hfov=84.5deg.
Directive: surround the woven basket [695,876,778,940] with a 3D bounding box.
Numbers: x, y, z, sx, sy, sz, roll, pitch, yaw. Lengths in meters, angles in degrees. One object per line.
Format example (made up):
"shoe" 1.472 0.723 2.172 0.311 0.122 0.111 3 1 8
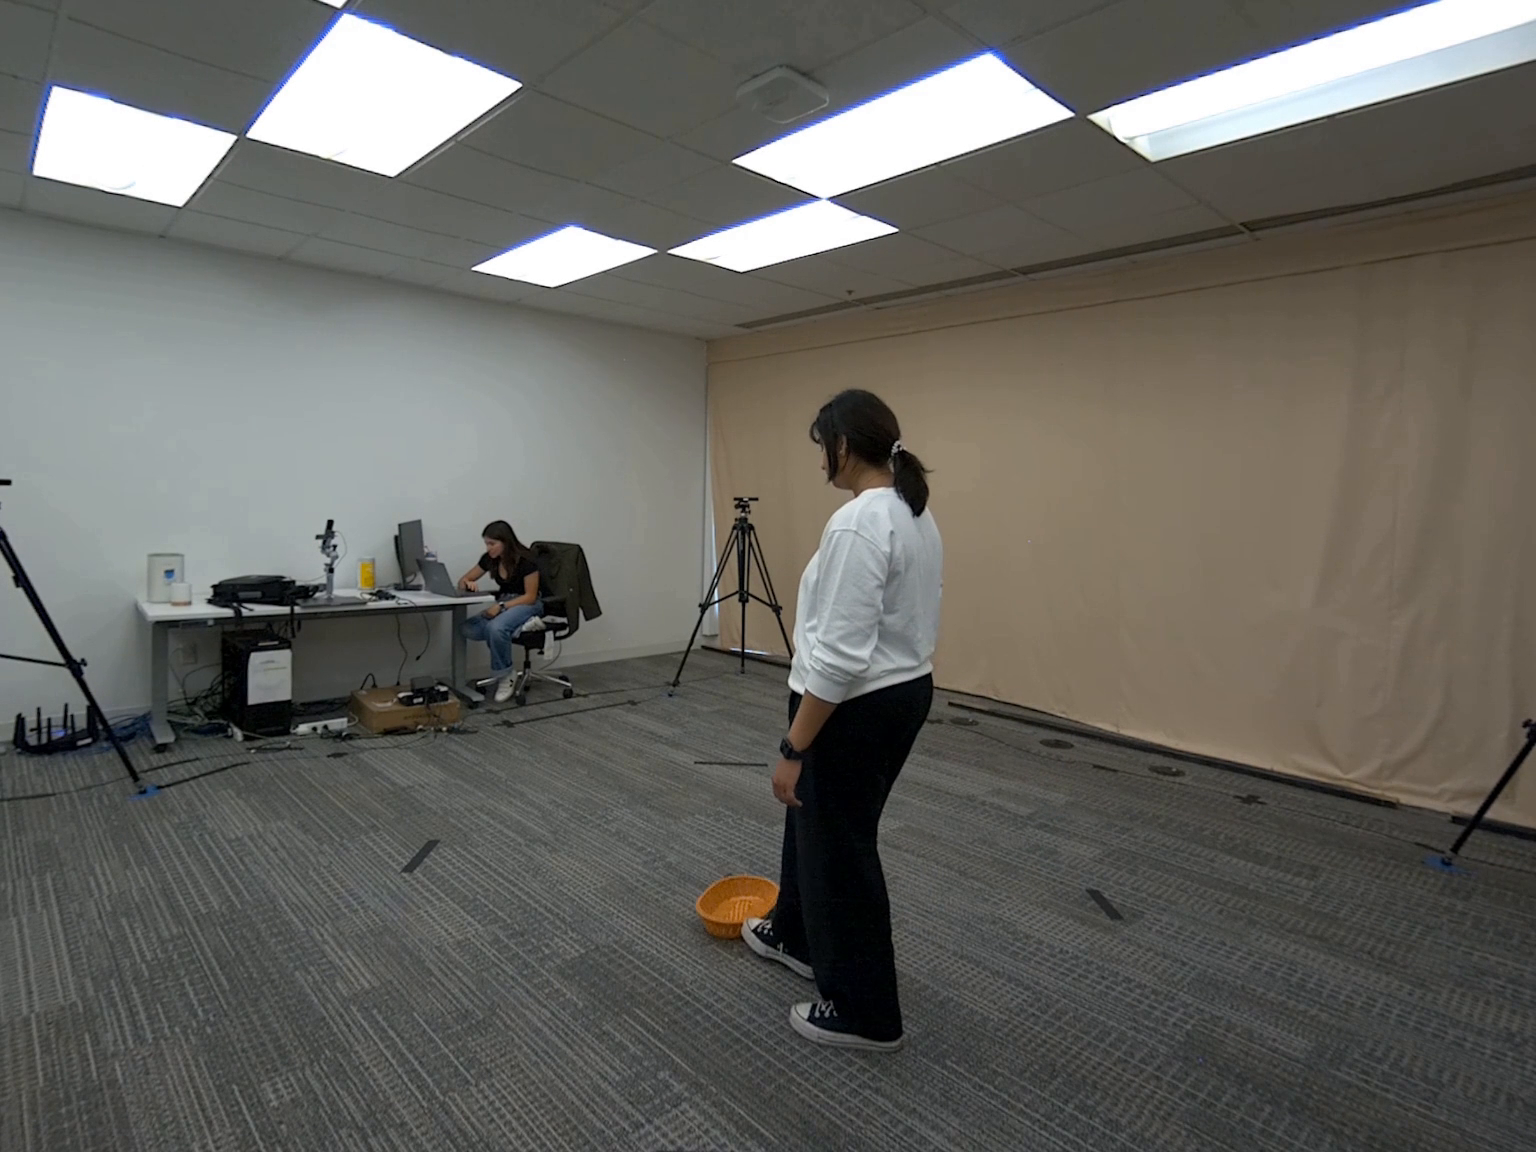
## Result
"woven basket" -0.099 1.097 2.783 0.257 0.073 0.345 2 4 23
